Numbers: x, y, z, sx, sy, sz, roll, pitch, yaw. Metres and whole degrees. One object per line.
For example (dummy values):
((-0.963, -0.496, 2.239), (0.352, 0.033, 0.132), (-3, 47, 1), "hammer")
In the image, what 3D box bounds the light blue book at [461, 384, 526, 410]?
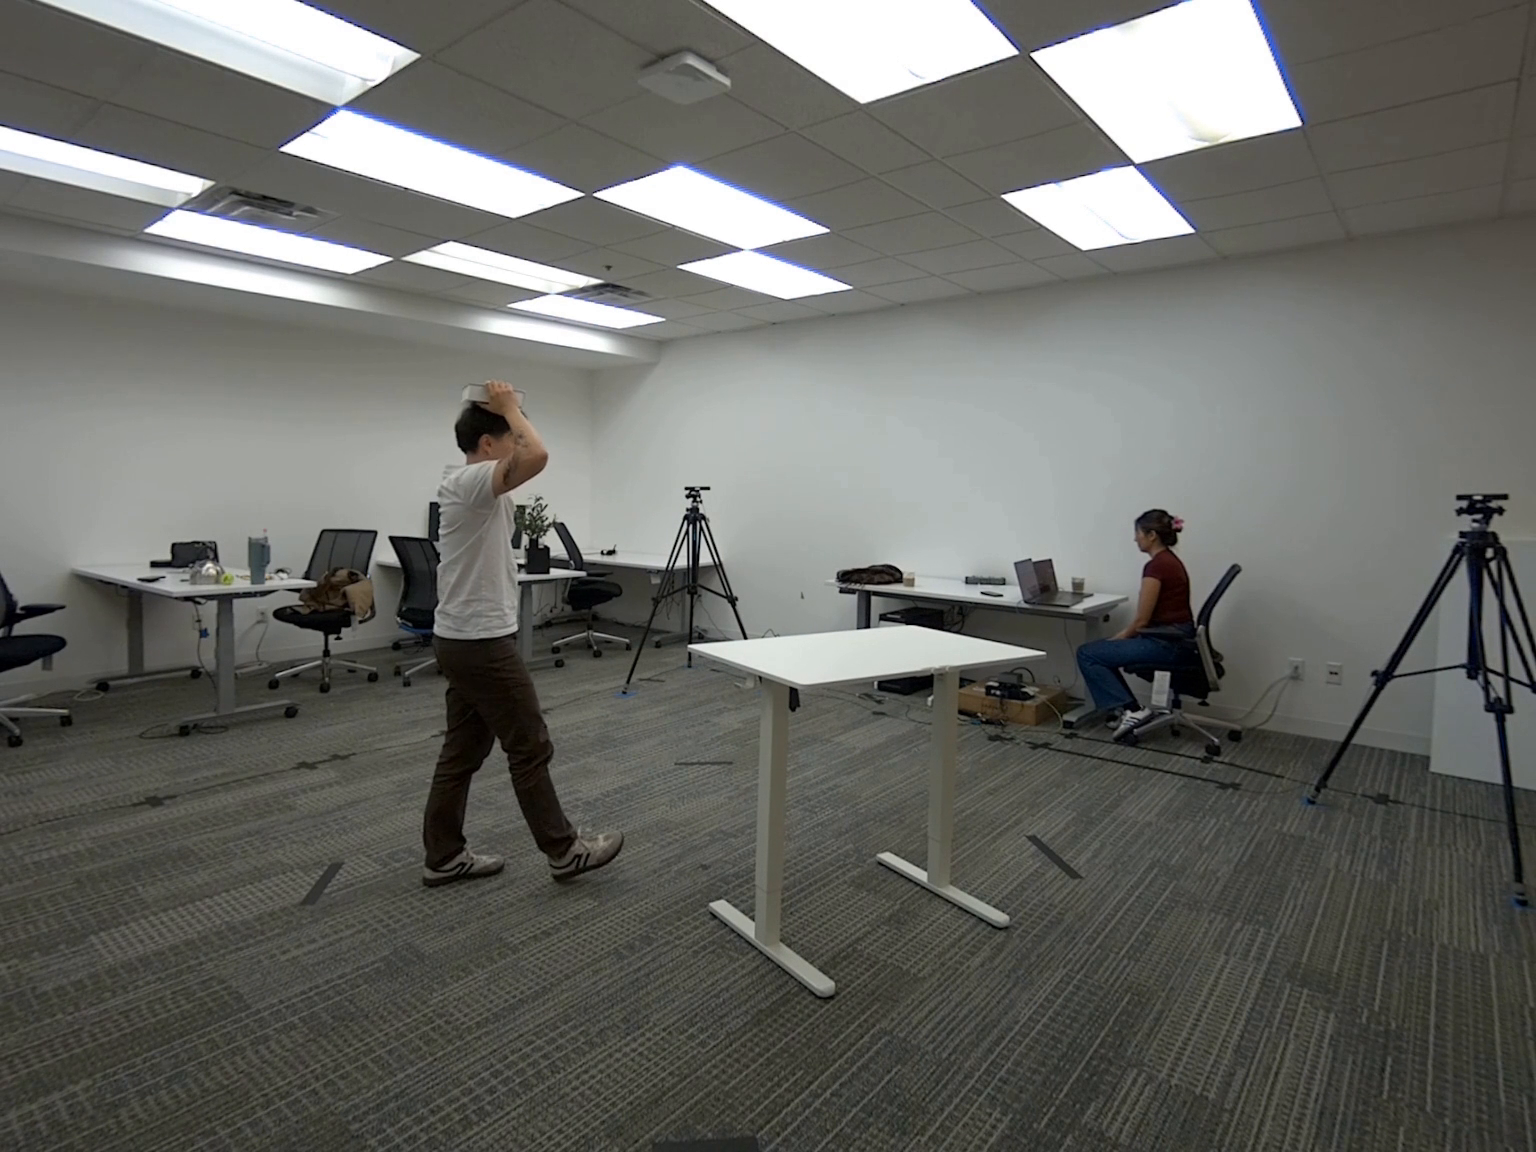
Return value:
((-0.966, -0.623, 2.954), (0.187, 0.059, 0.268), (7, 5, -21), "light blue book")
